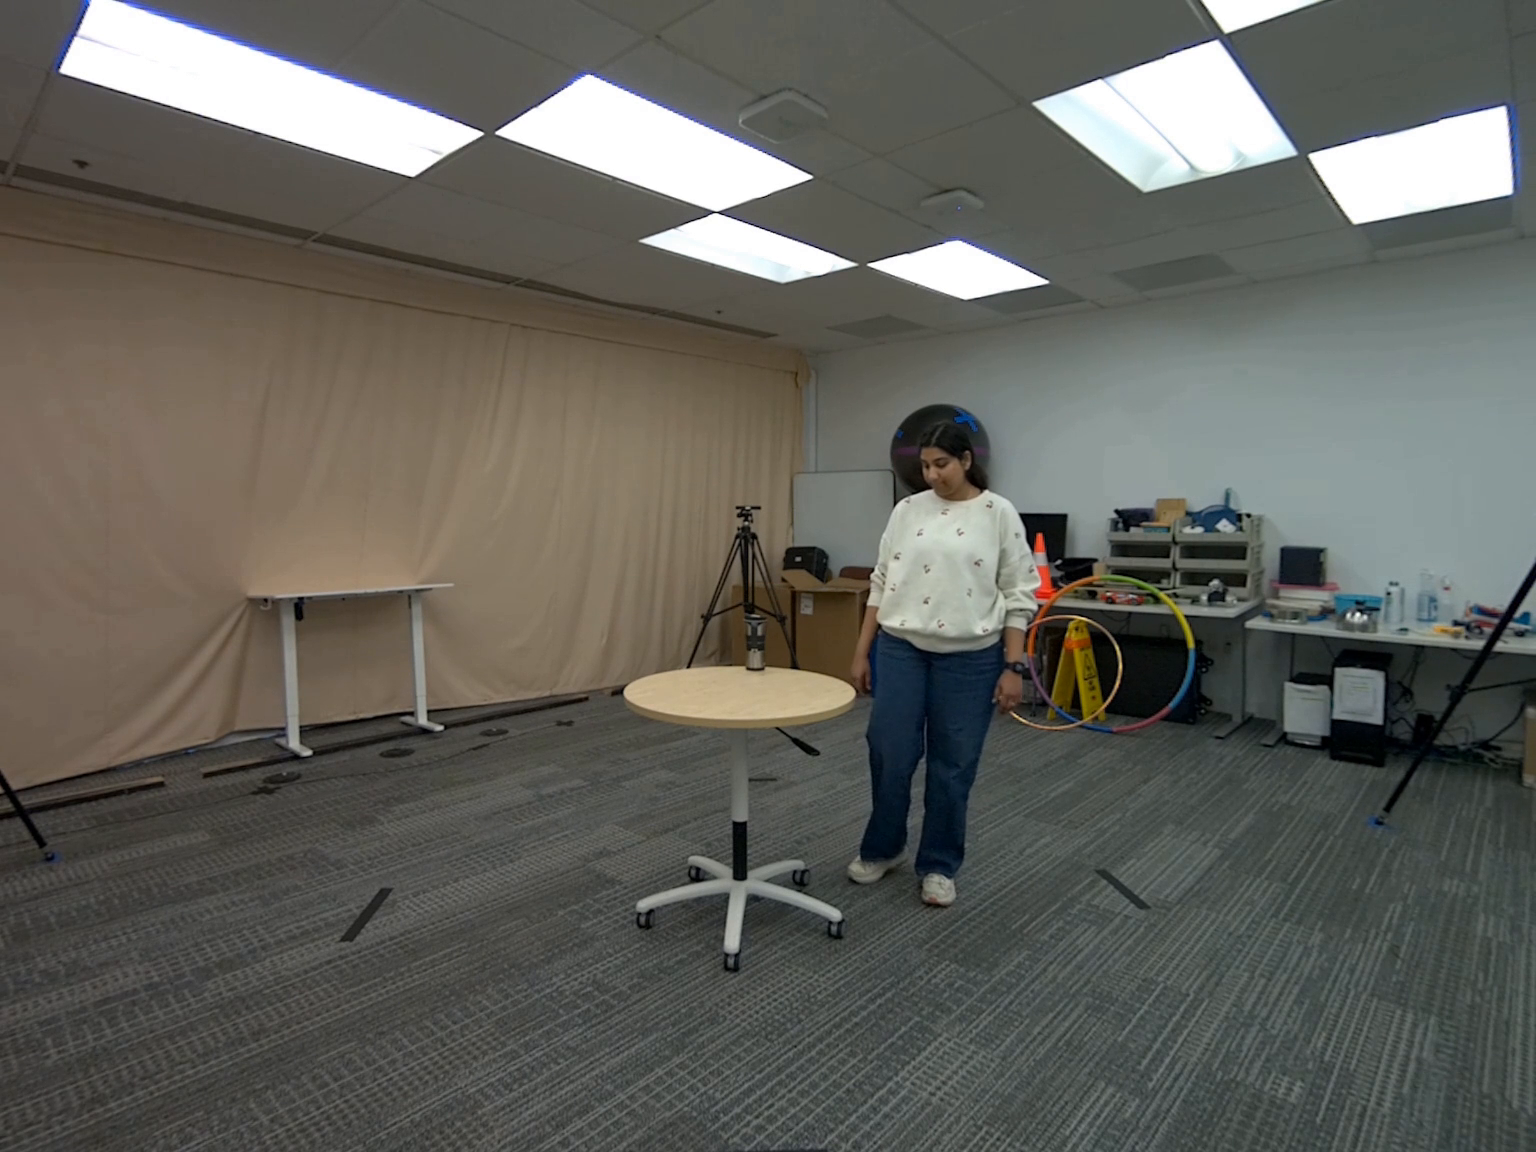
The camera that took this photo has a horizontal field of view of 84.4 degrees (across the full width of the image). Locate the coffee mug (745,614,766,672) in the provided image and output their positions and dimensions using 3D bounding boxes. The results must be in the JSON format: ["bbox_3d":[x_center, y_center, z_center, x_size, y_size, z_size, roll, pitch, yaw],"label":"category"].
[{"bbox_3d":[-0.053,0.252,3.101,0.090,0.202,0.118,7,4,31],"label":"coffee mug"}]
